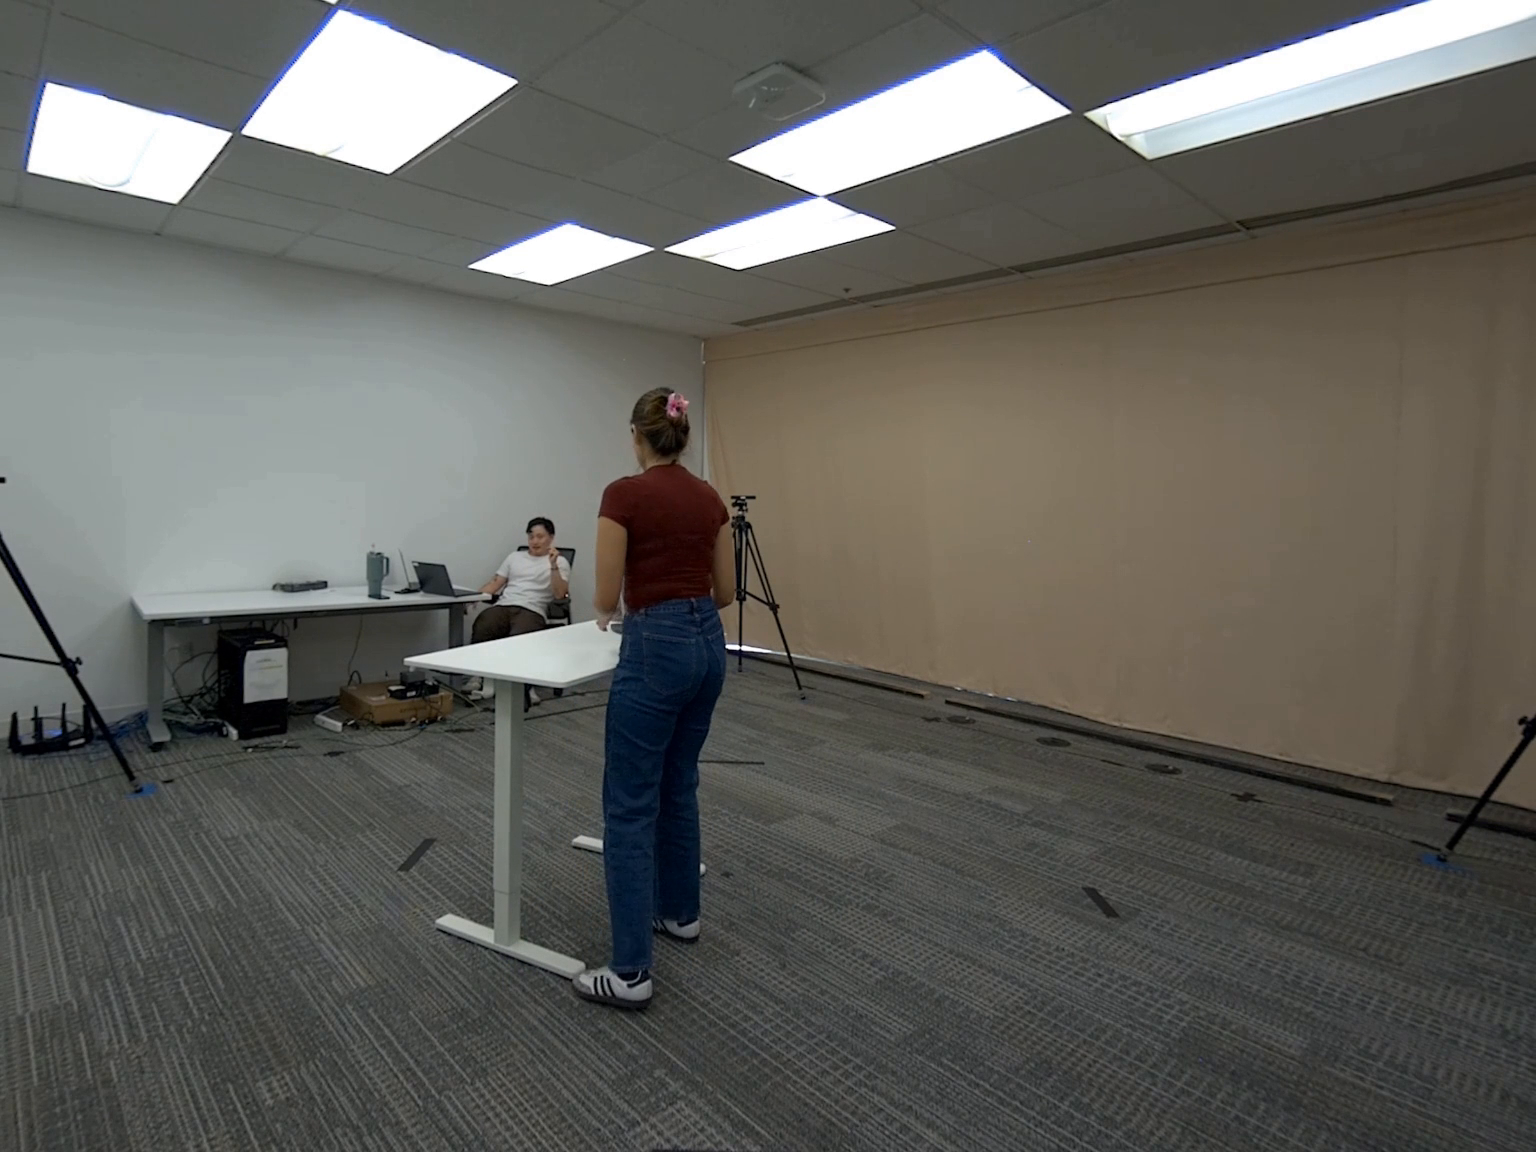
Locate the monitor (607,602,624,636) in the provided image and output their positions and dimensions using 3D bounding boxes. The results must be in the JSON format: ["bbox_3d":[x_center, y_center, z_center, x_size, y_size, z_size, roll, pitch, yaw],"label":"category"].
[{"bbox_3d":[-0.484,-0.041,3.136,0.184,0.520,0.550,-4,6,-26],"label":"monitor"}]
